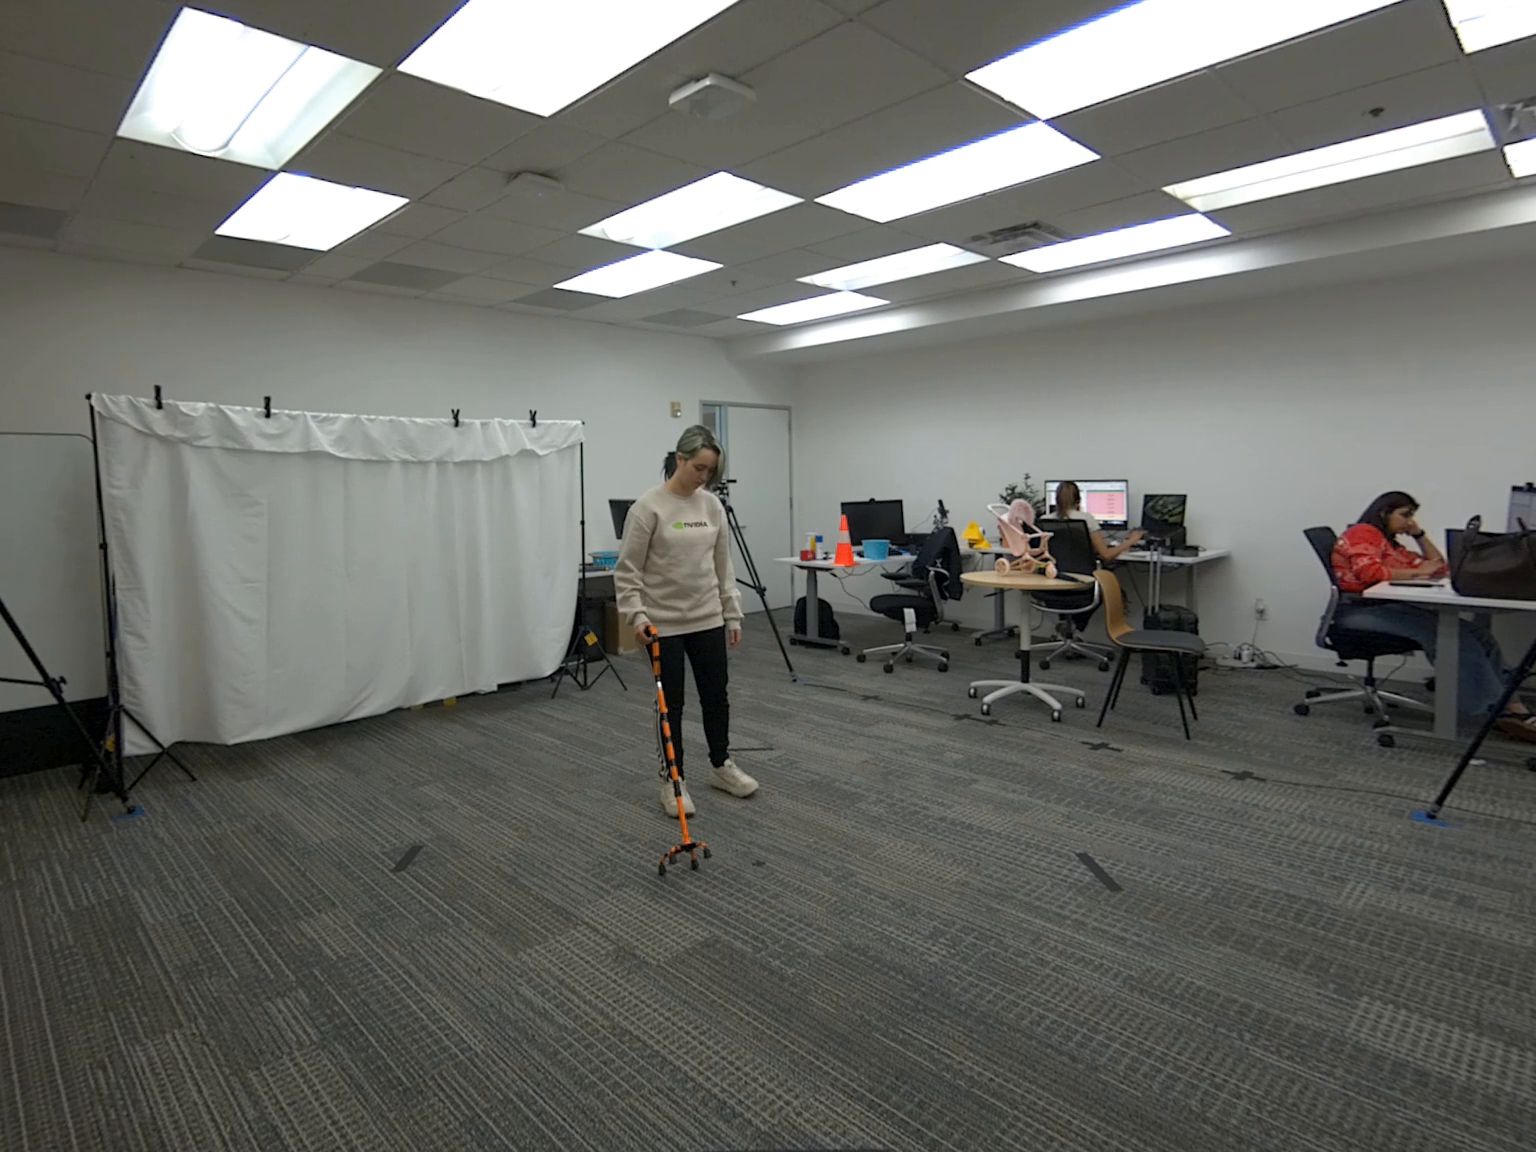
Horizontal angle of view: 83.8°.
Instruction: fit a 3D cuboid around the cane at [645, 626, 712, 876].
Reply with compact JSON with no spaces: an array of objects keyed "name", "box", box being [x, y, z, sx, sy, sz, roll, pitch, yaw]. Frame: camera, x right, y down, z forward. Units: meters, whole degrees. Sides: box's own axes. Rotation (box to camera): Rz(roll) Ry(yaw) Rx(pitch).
[{"name":"cane","box":[-0.385,0.617,3.189,0.149,0.933,0.204,-3,-29,-20]}]
